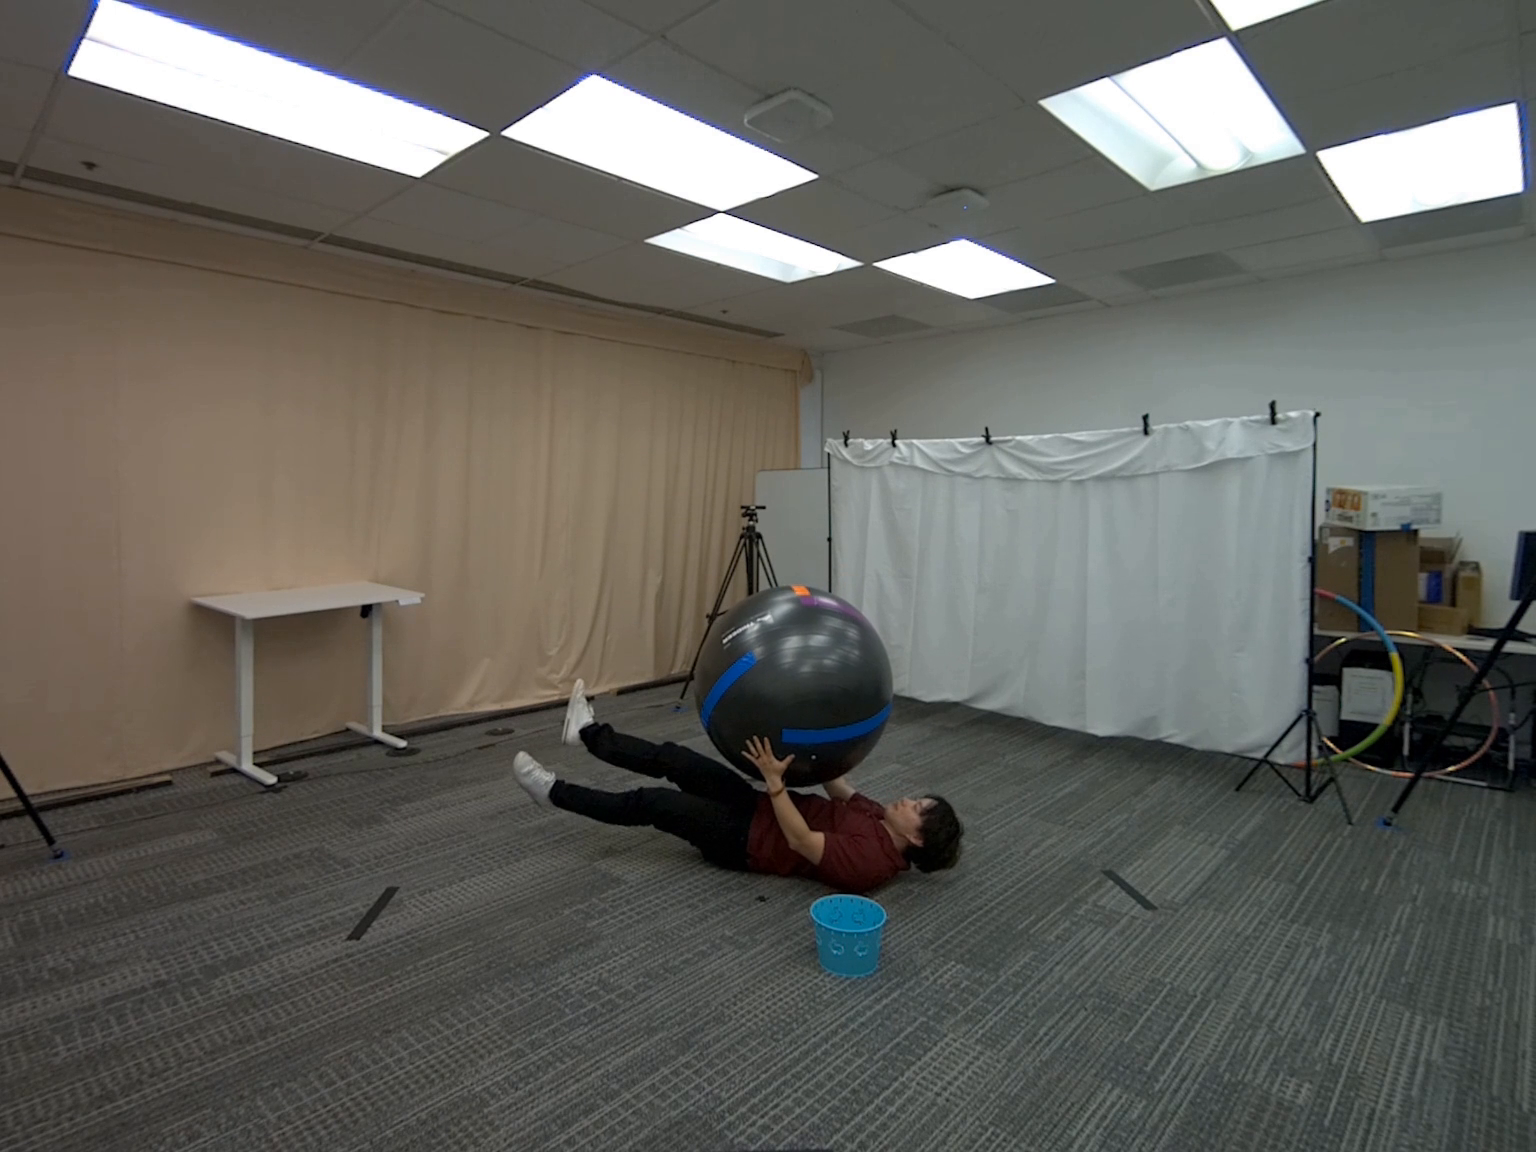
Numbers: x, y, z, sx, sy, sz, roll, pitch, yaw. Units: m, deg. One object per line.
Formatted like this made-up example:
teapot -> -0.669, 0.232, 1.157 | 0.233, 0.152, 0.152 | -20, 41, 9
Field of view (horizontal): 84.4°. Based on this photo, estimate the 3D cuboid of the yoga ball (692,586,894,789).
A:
yoga ball -> 0.093, 0.419, 3.242 | 0.757, 0.756, 0.760 | 0, 4, -2
